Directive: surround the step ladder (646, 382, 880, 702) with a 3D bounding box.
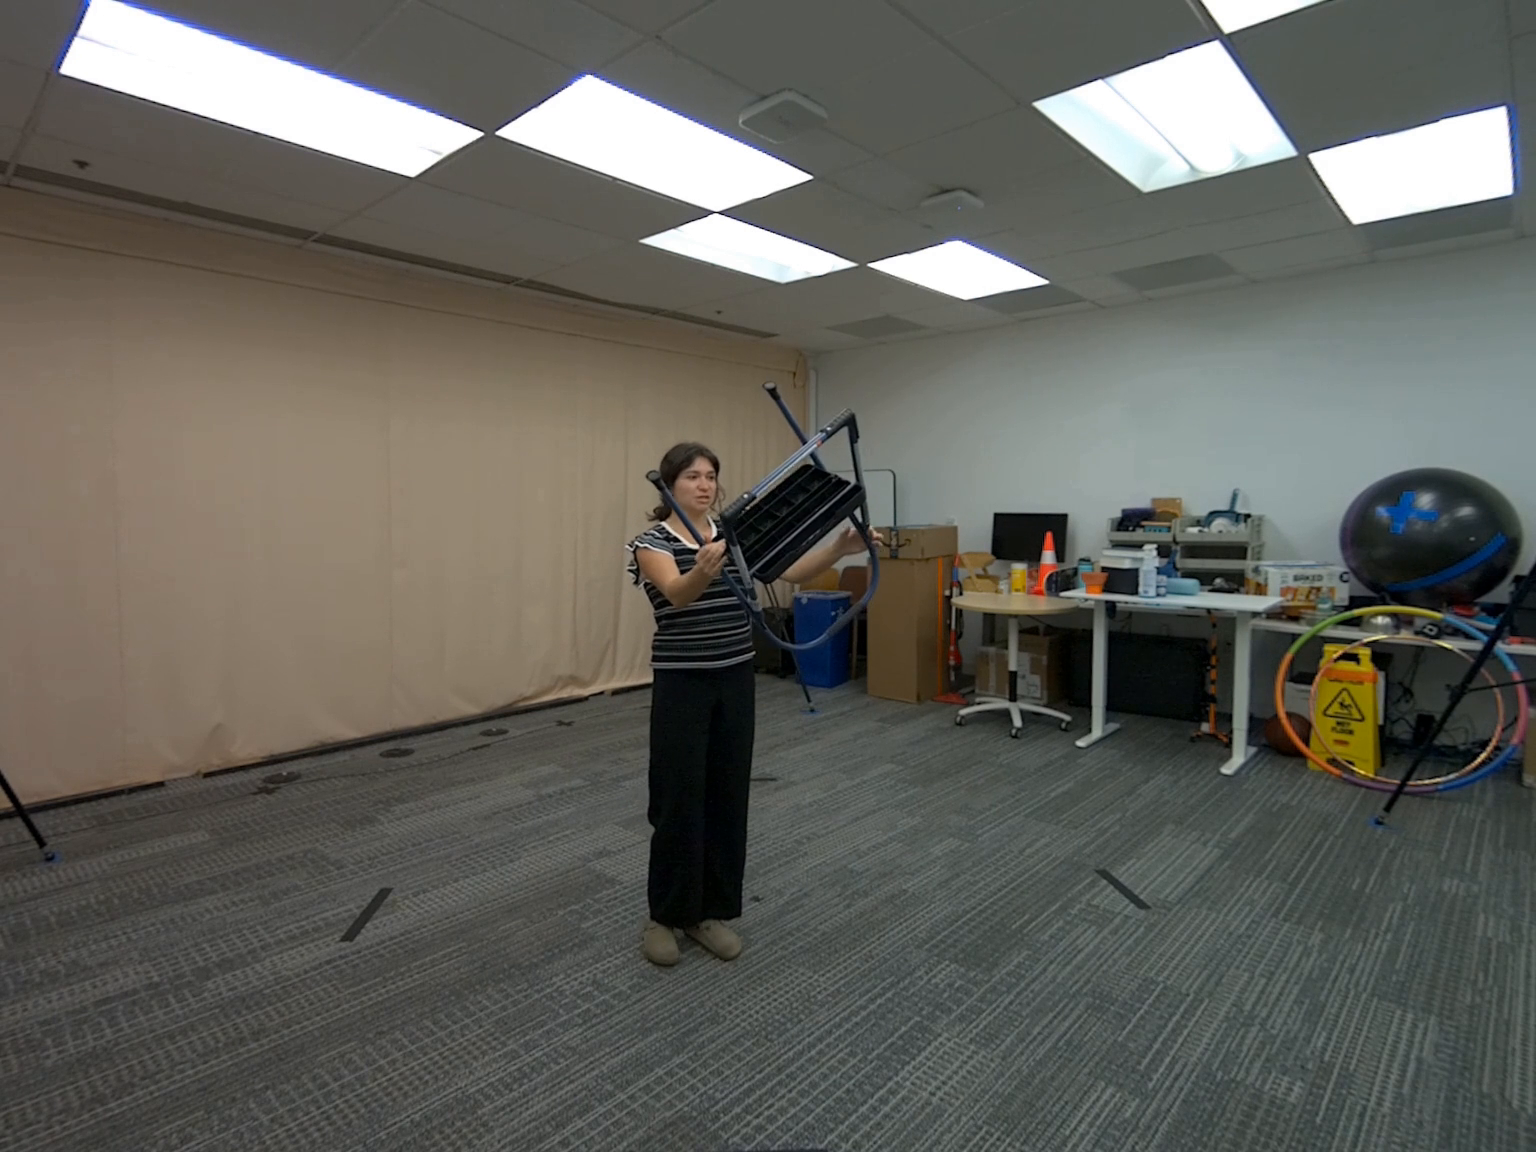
[{"bbox_3d":[0.061,-0.098,2.195,0.428,0.588,0.362,-39,38,-15],"label":"step ladder"}]
